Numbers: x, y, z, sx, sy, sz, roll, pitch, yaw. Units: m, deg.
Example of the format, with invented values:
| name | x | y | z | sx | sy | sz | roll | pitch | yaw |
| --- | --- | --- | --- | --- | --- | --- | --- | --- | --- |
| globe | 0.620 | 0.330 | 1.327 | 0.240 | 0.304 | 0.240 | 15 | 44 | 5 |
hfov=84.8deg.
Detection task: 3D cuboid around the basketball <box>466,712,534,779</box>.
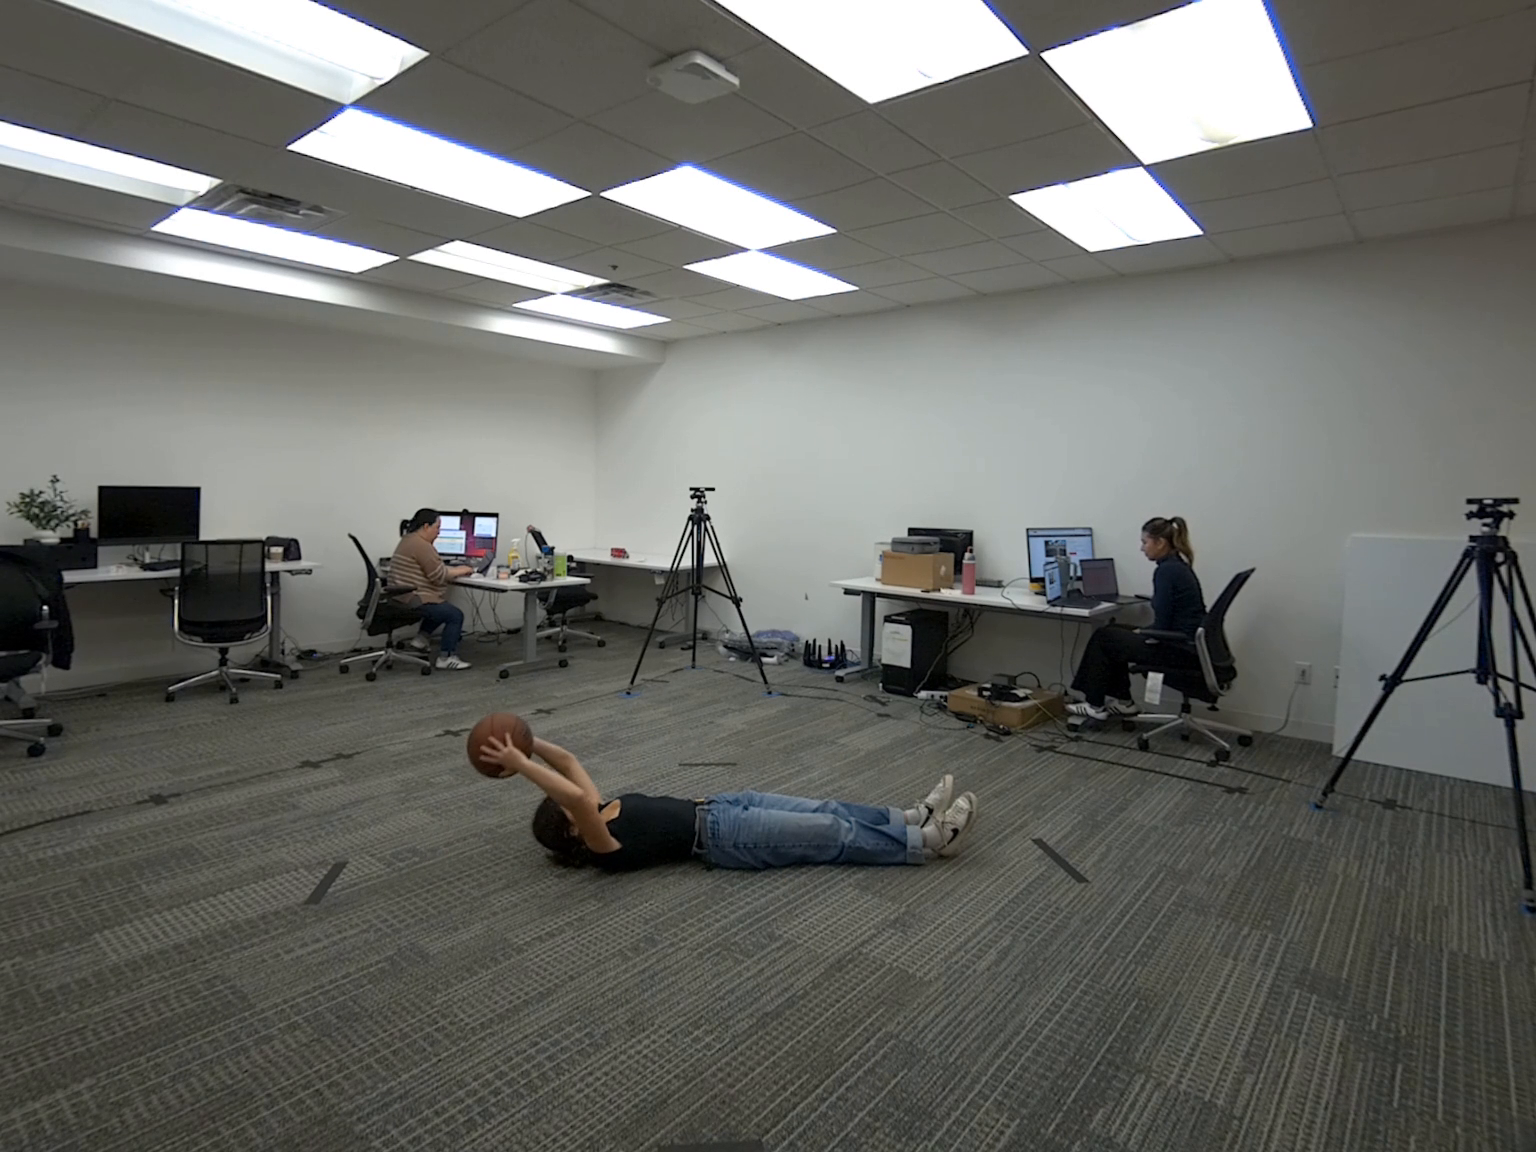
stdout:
| name | x | y | z | sx | sy | sz | roll | pitch | yaw |
| --- | --- | --- | --- | --- | --- | --- | --- | --- | --- |
| basketball | -0.974 | 0.624 | 3.126 | 0.235 | 0.235 | 0.237 | 1 | 4 | -2 |
